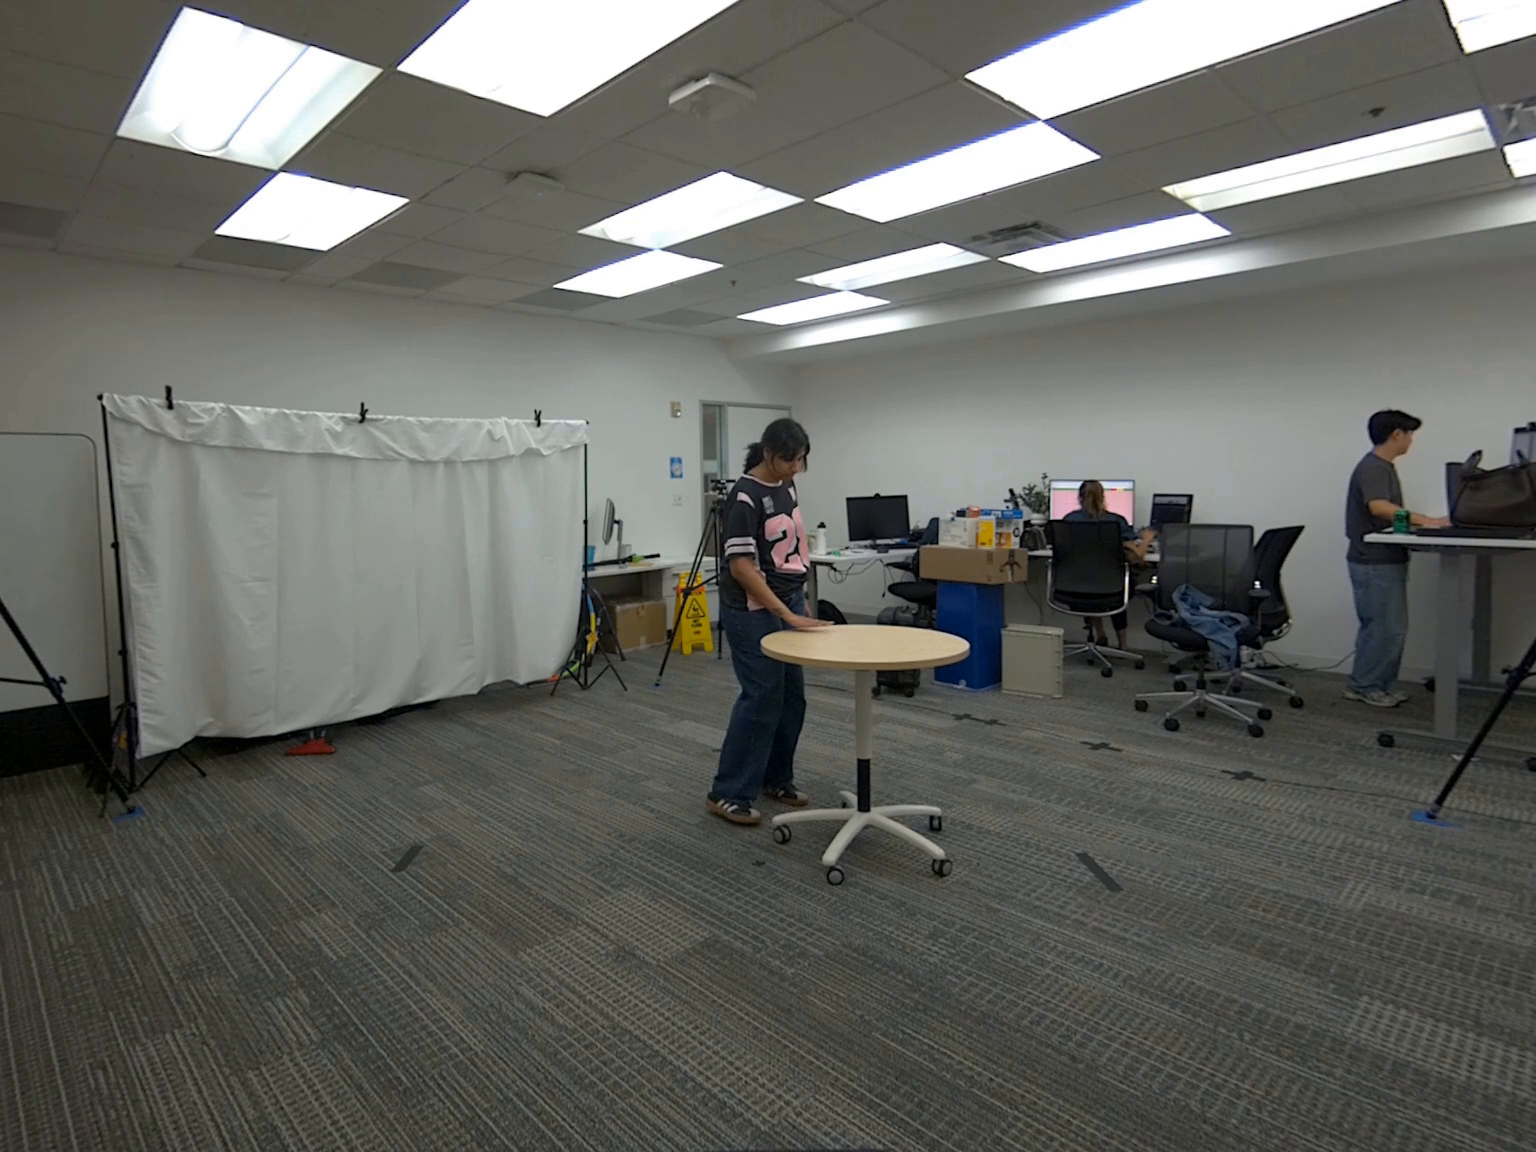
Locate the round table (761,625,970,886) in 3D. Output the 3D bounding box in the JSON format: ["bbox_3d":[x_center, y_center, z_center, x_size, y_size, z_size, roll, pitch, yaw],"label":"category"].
[{"bbox_3d":[0.365,0.633,3.225,0.784,0.783,0.789,-1,5,-2],"label":"round table"}]
